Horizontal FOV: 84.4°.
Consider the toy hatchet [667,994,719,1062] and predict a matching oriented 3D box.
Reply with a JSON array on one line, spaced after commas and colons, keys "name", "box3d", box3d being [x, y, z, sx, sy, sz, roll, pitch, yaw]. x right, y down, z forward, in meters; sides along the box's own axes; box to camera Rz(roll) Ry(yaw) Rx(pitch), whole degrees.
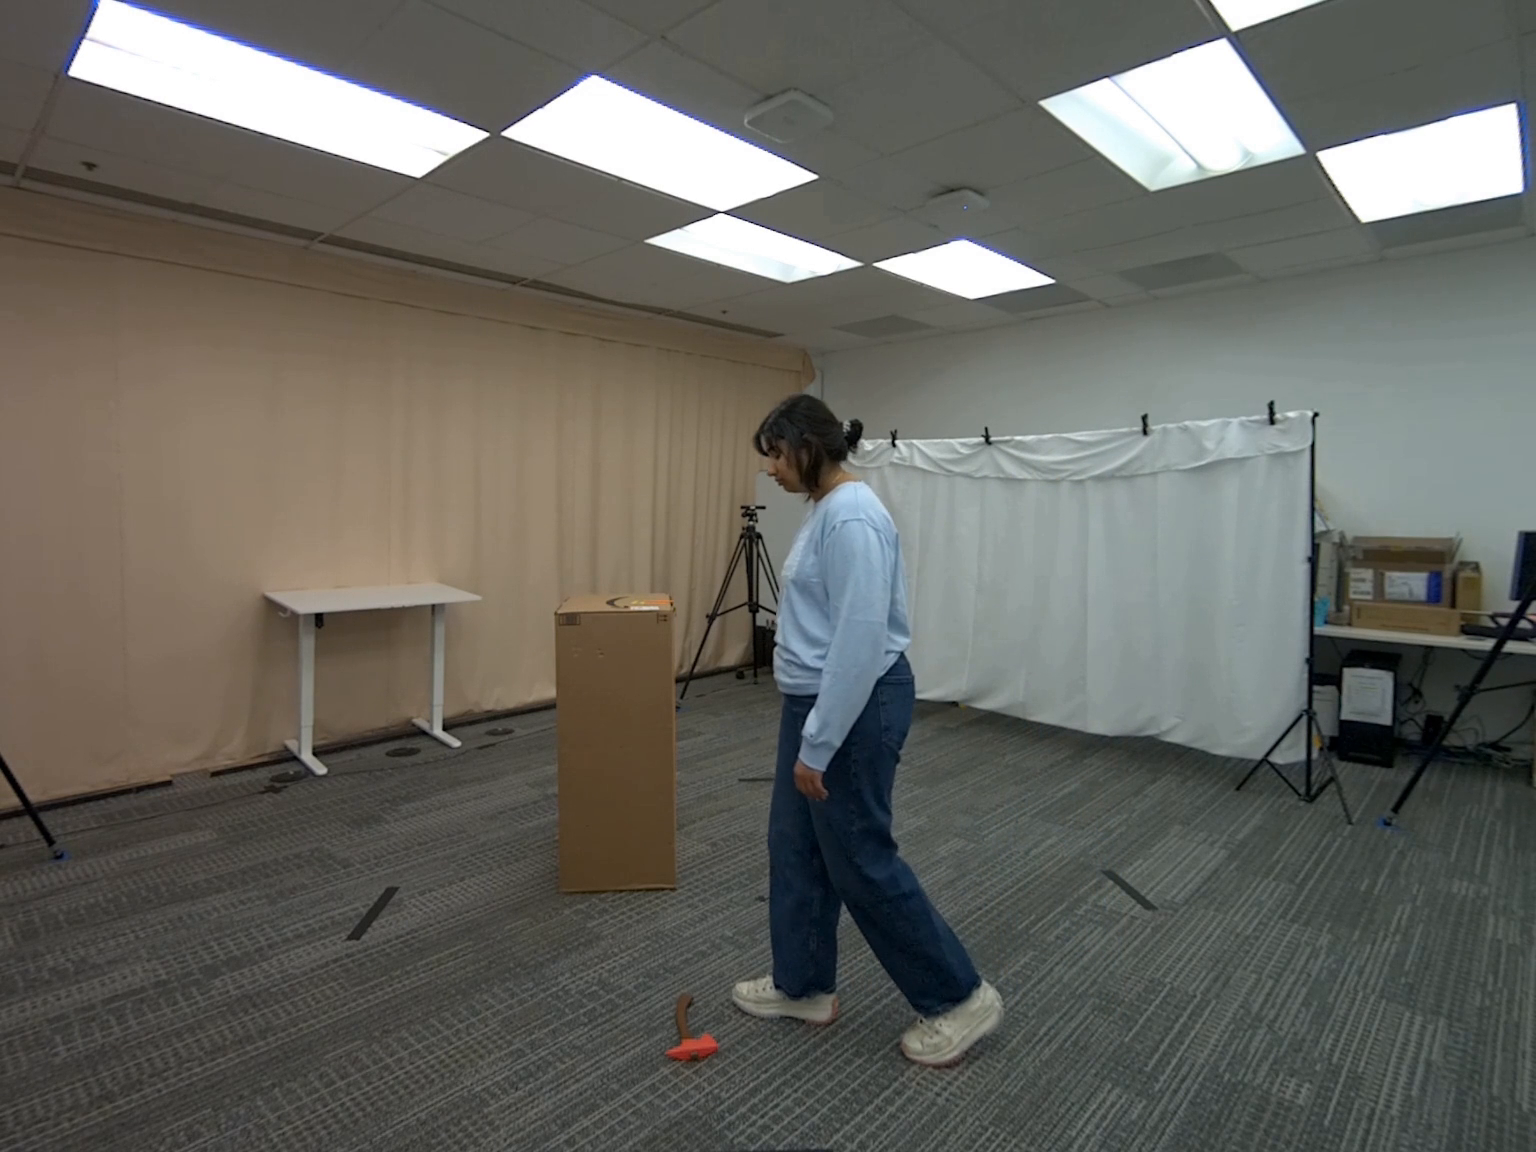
[{"name": "toy hatchet", "box3d": [-0.189, 1.197, 2.234, 0.132, 0.029, 0.269, -1, 4, 3]}]
